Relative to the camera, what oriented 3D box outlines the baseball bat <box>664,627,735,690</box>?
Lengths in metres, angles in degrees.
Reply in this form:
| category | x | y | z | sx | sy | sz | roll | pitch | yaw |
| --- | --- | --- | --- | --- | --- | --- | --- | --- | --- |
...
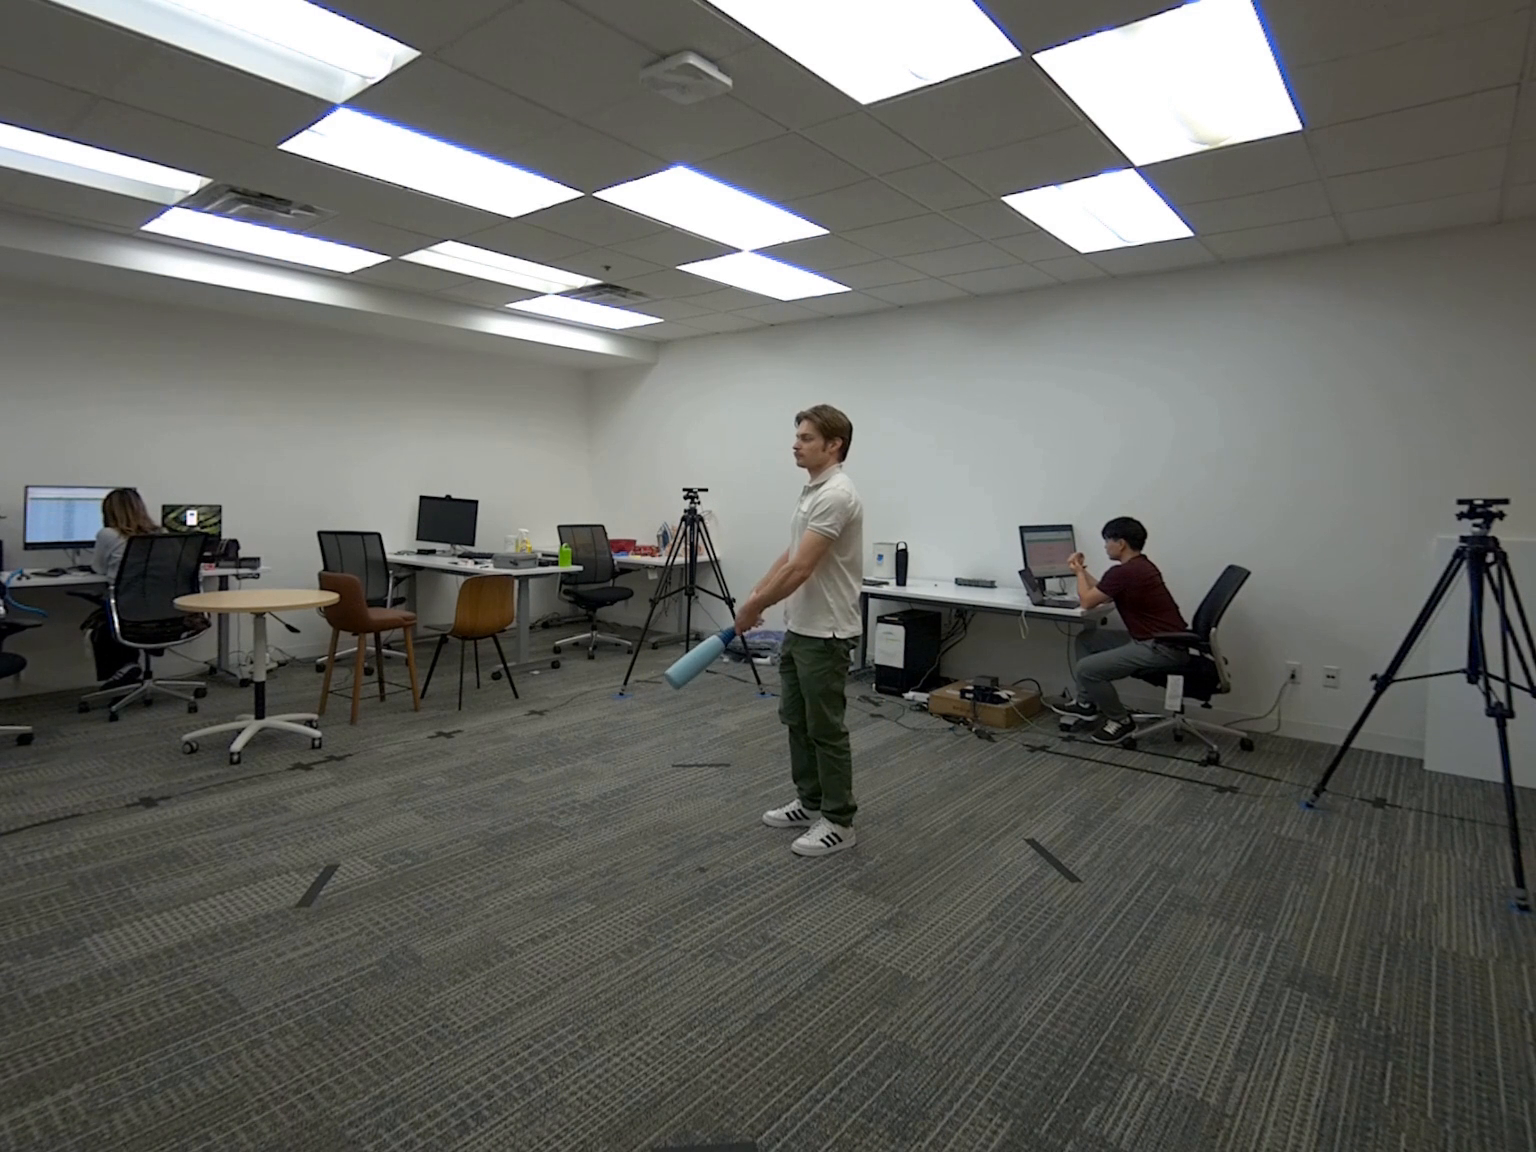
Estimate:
| category | x | y | z | sx | sy | sz | roll | pitch | yaw |
| --- | --- | --- | --- | --- | --- | --- | --- | --- | --- |
| baseball bat | -0.175 | 0.250 | 3.281 | 0.540 | 0.087 | 0.092 | -37 | 20 | -22 |
